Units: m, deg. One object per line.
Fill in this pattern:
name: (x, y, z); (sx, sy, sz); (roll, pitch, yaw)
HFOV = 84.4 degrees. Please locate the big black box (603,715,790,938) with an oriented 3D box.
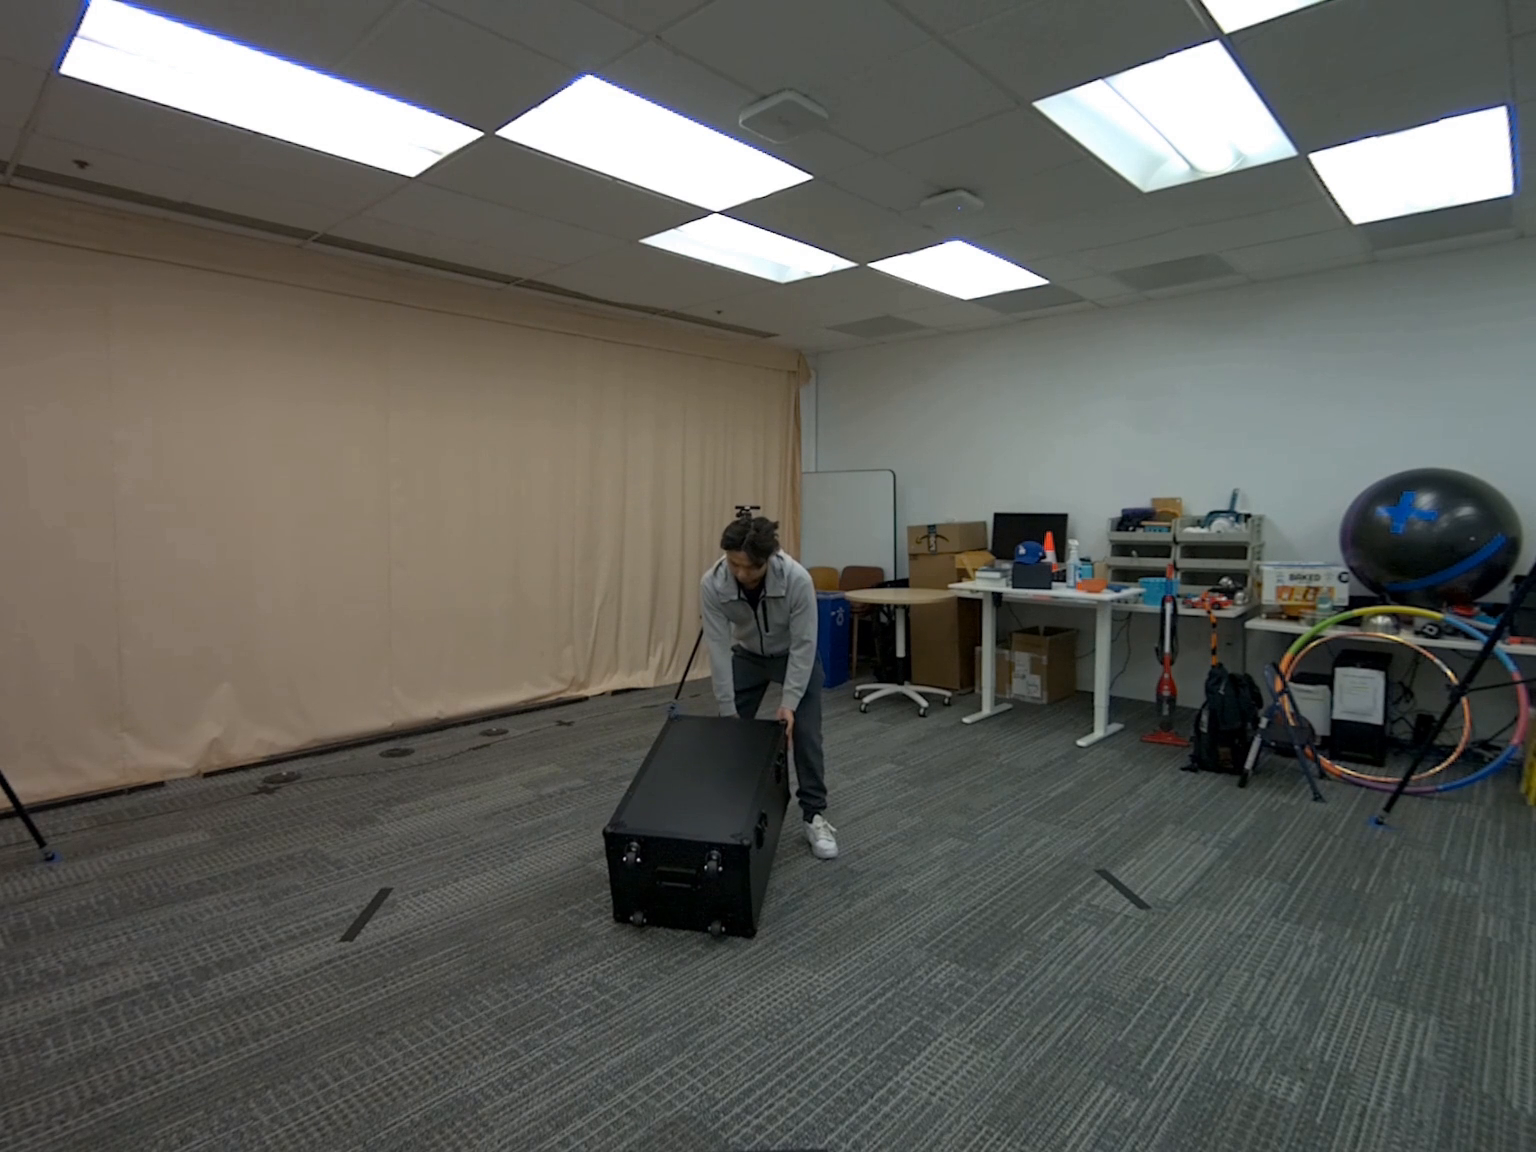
big black box: (-0.232, 0.875, 3.044); (0.529, 0.392, 0.859); (1, 18, 12)
